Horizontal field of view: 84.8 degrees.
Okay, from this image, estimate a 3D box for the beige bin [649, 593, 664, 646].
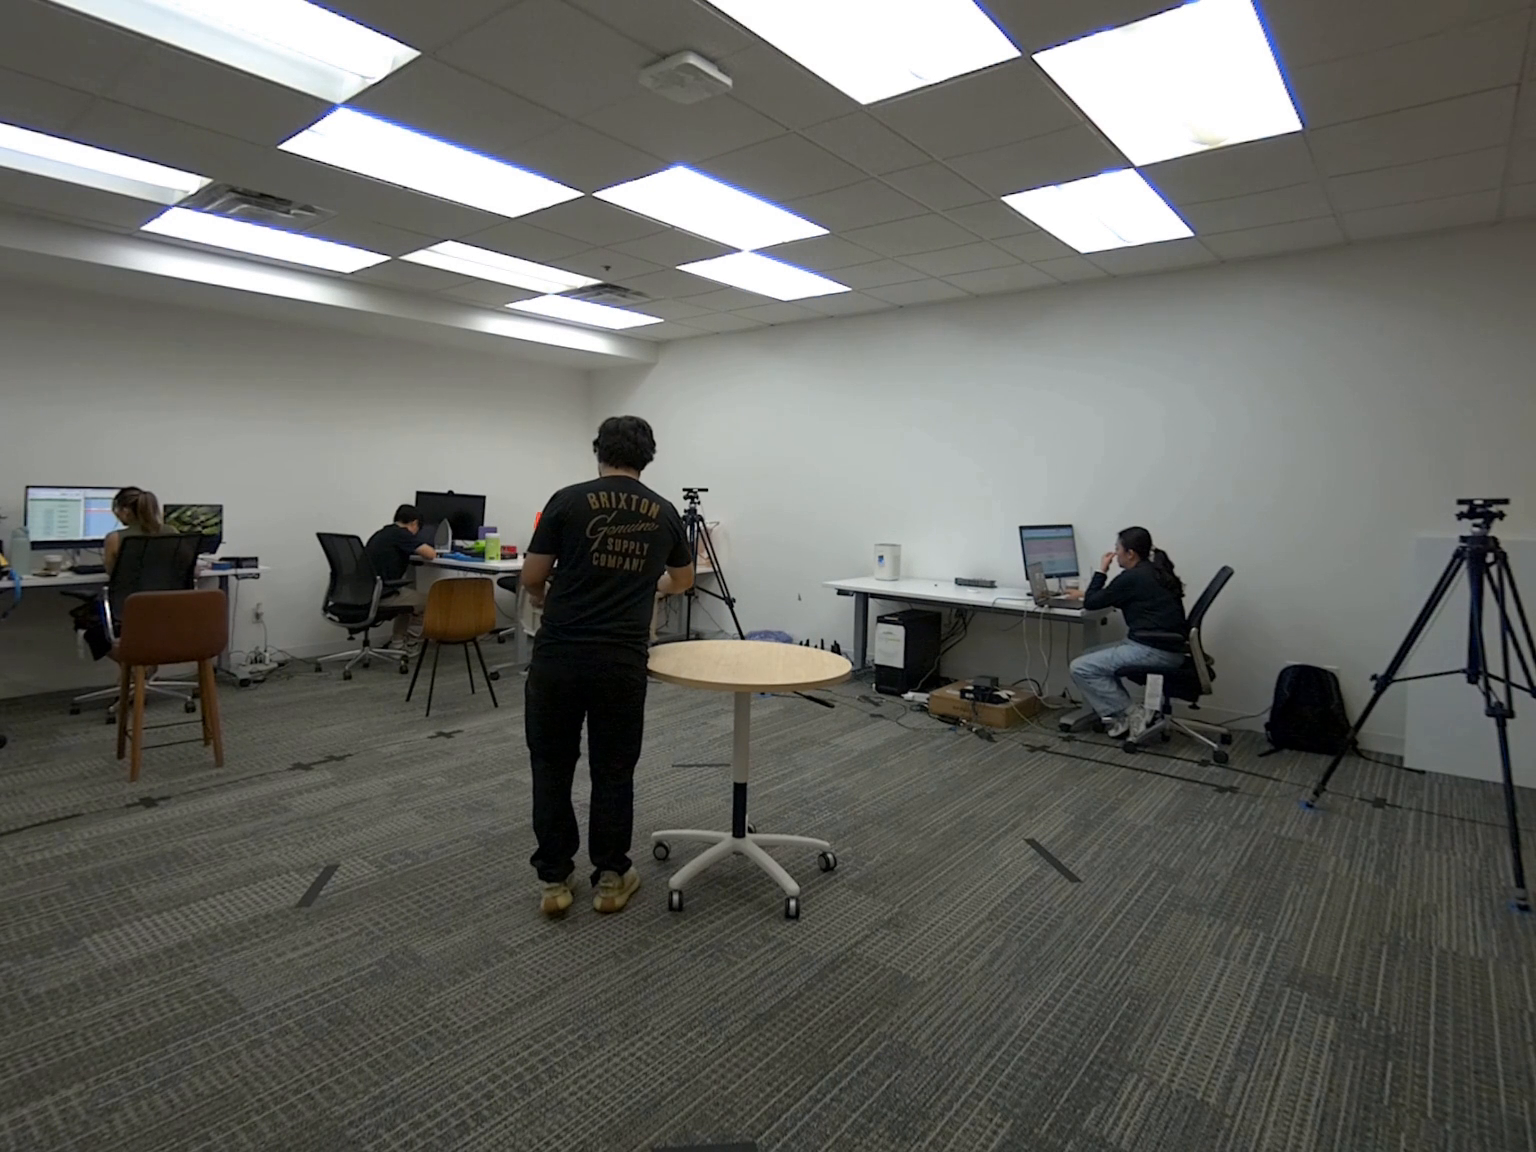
[{"bbox_3d":[-0.686,0.135,3.235,0.409,0.188,0.391,-1,8,-37],"label":"beige bin"}]
